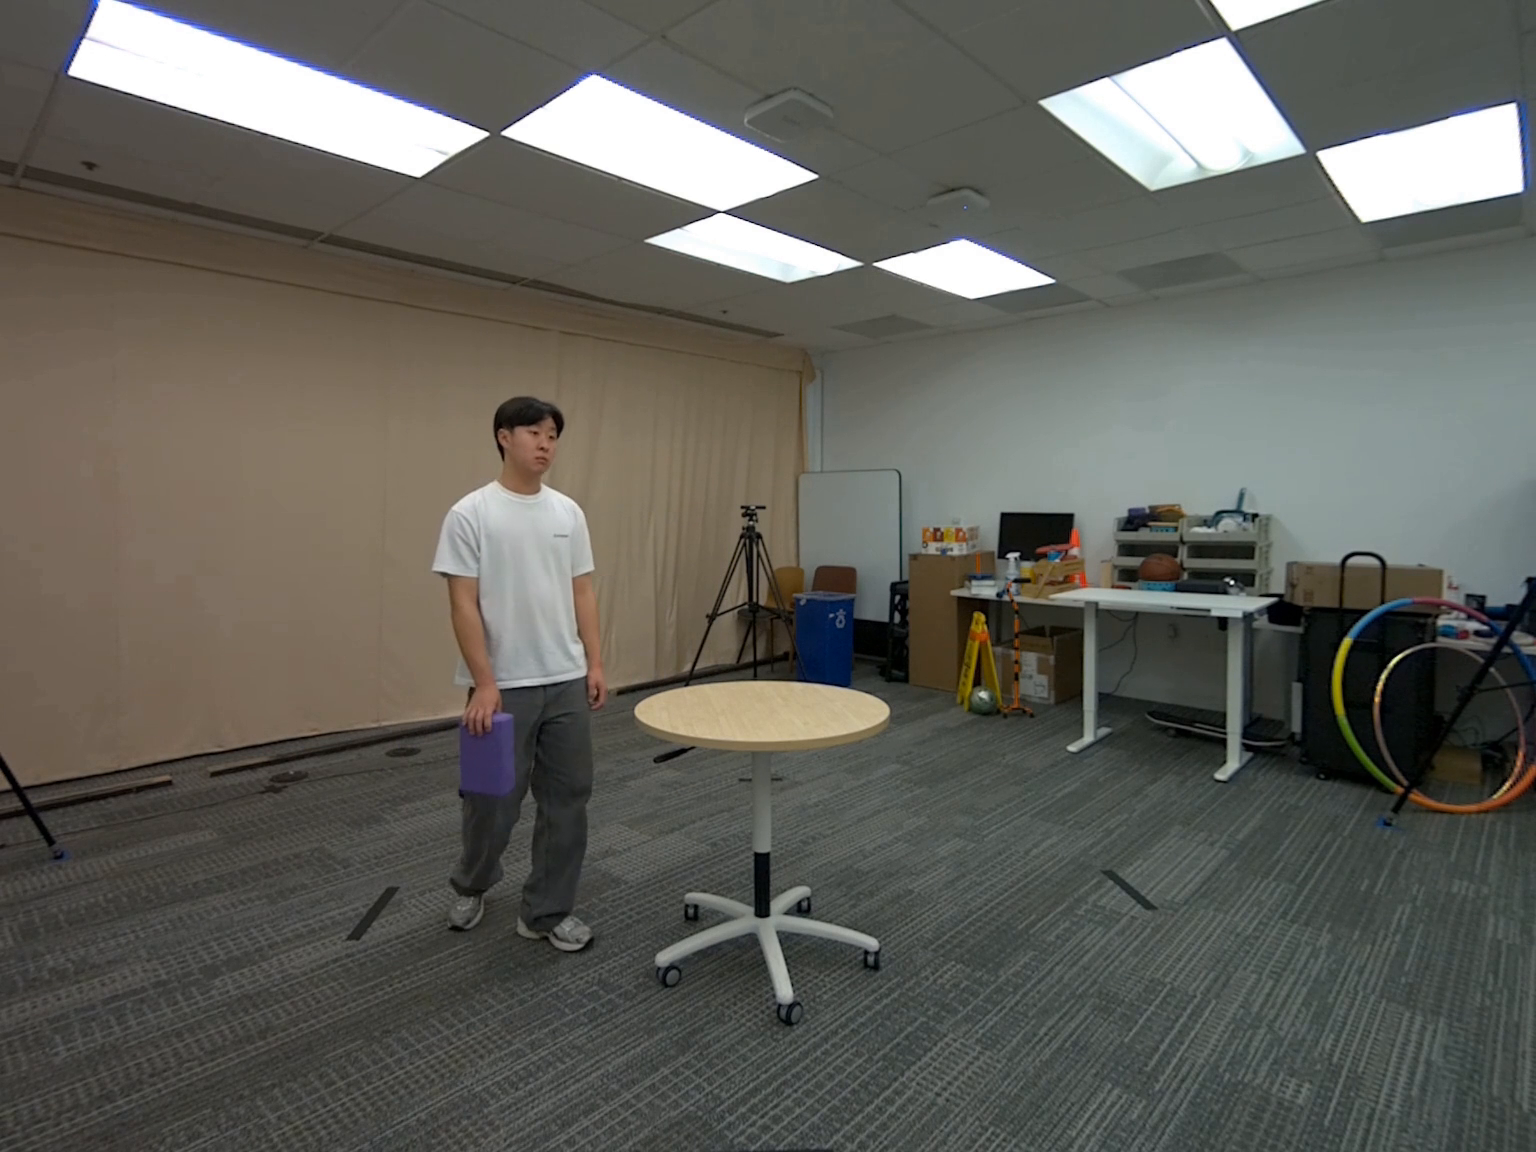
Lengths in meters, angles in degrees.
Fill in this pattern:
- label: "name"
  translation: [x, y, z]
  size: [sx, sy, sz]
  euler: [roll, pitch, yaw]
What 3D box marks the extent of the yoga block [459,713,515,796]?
- label: "yoga block"
  translation: [-0.835, 0.520, 2.479]
  size: [0.152, 0.228, 0.075]
  euler: [3, 6, 18]
